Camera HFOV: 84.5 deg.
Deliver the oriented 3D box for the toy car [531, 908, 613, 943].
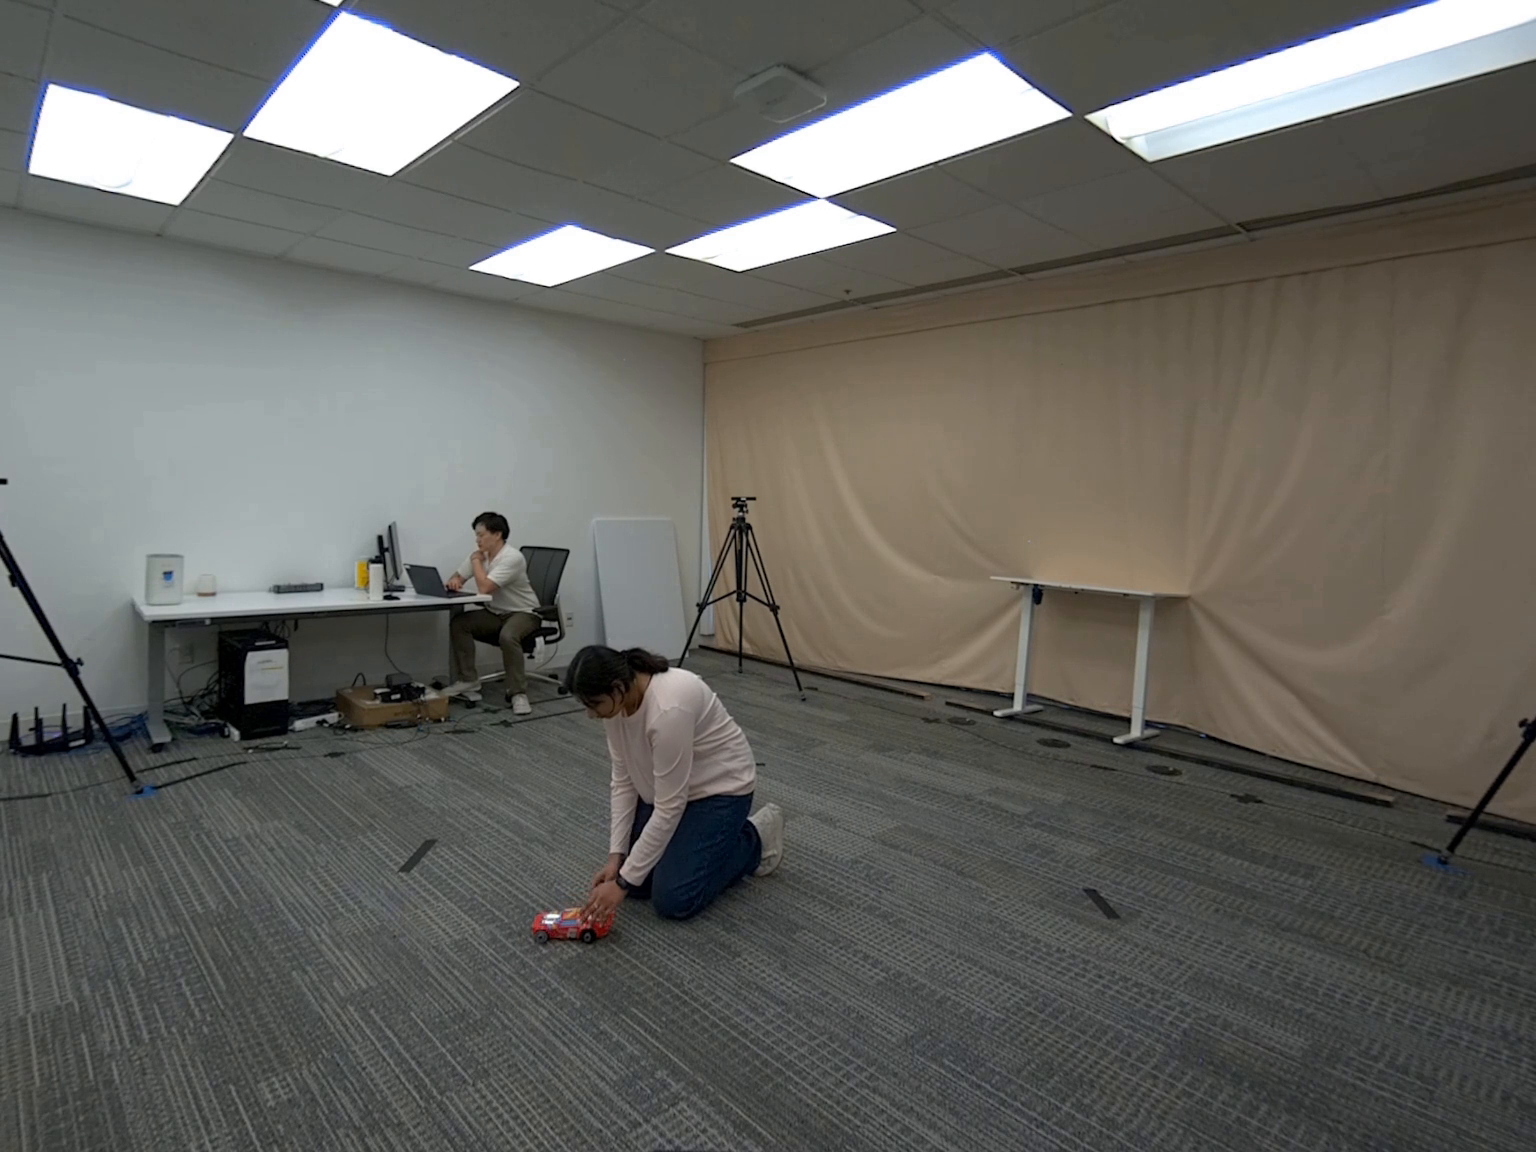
[{"bbox_3d":[-0.624,1.107,2.659,0.255,0.083,0.131,-9,5,0],"label":"toy car"}]
